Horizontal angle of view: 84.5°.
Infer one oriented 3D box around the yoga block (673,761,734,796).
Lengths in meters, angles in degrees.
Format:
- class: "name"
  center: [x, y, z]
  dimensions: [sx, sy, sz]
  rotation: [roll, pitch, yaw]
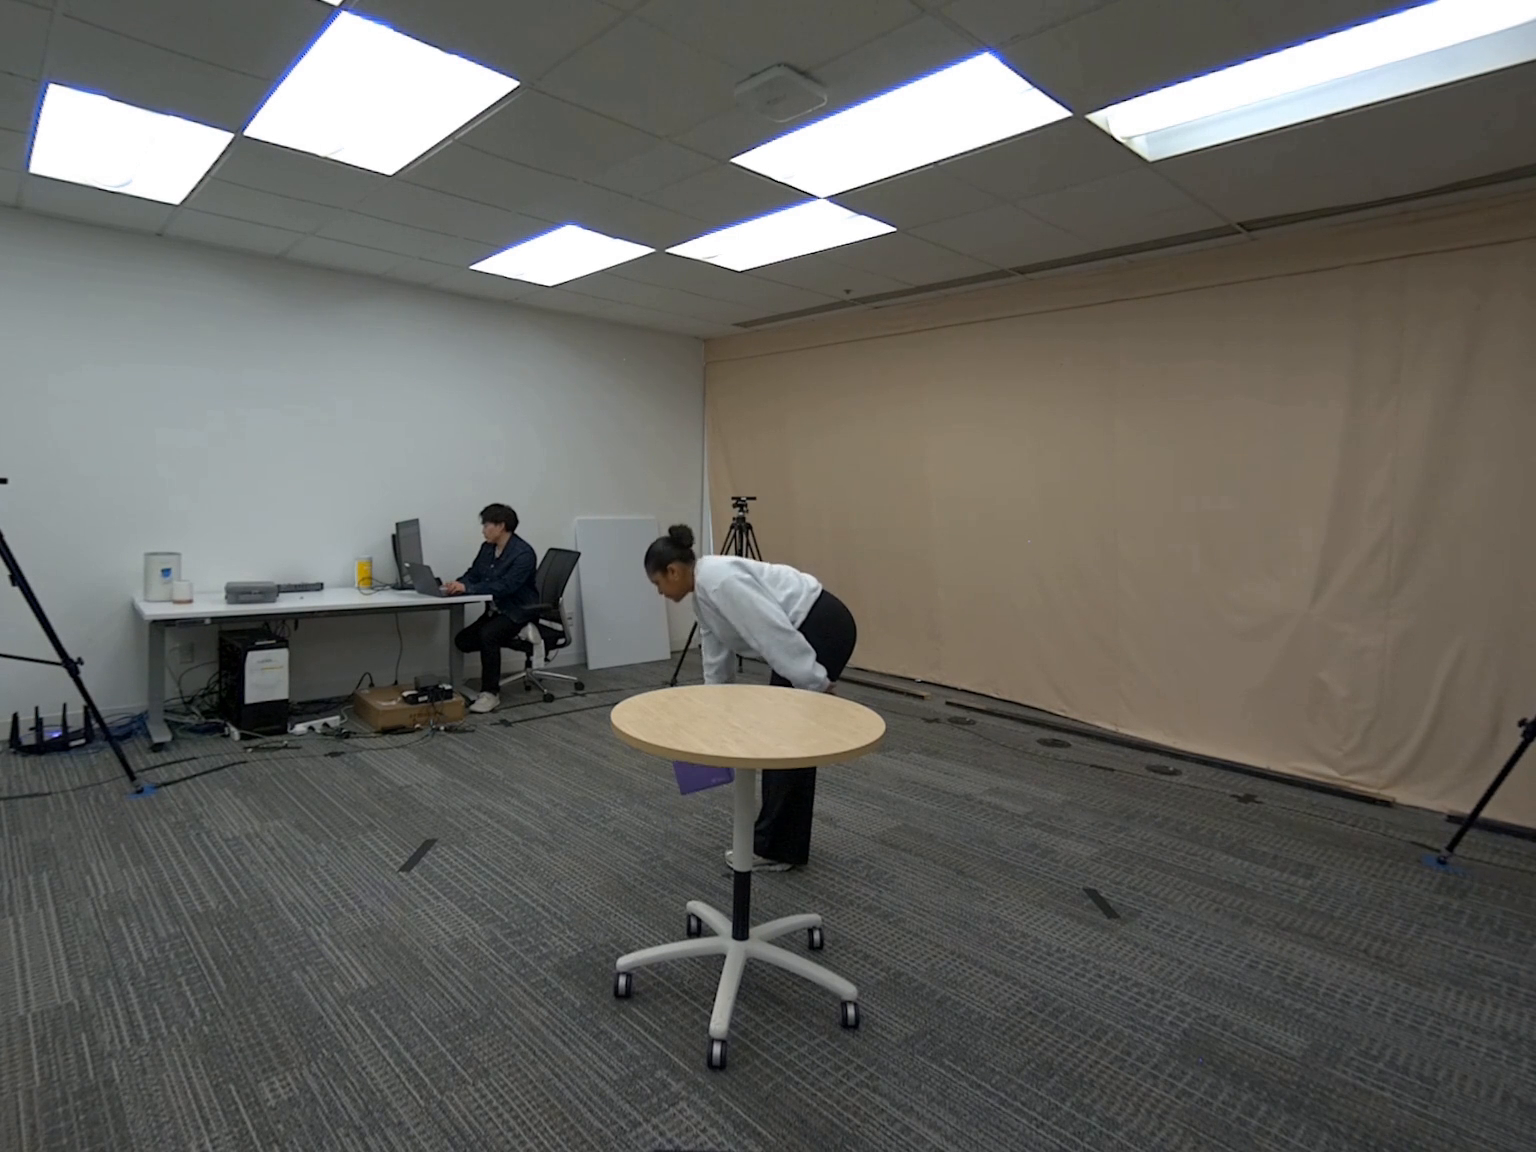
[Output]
- class: "yoga block"
  center: [-0.279, 0.786, 3.454]
  dimensions: [0.230, 0.150, 0.075]
  rotation: [-17, -6, 8]
